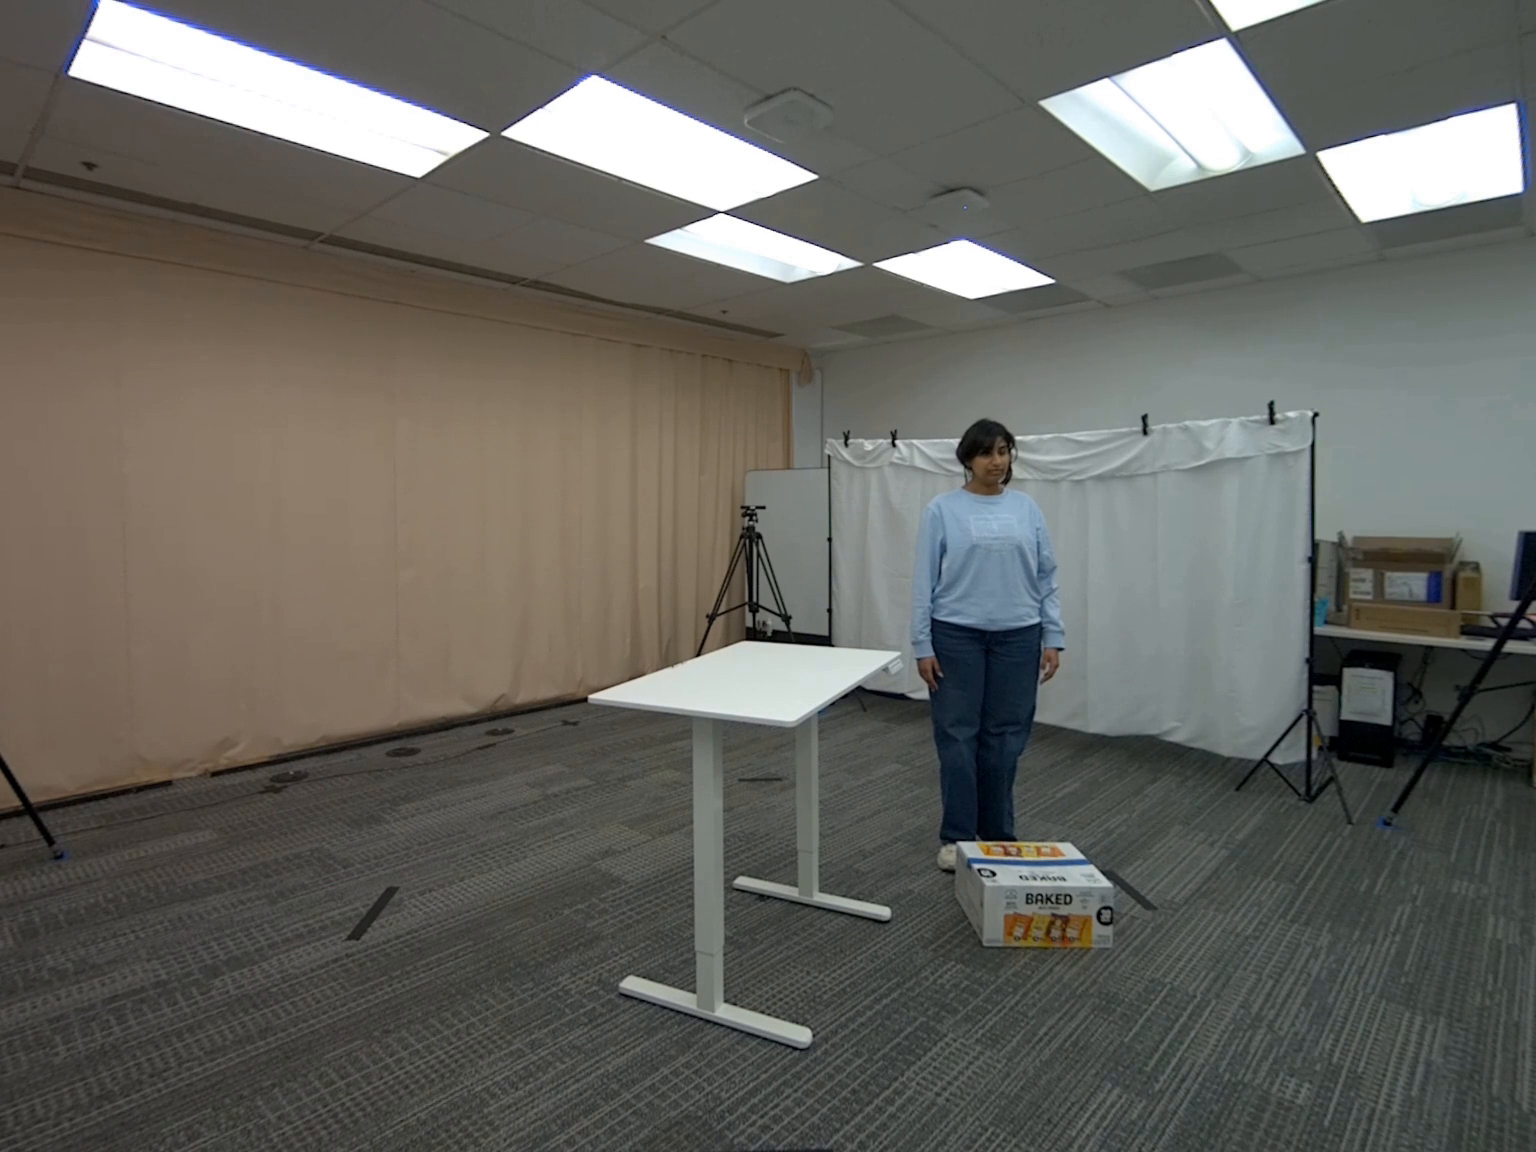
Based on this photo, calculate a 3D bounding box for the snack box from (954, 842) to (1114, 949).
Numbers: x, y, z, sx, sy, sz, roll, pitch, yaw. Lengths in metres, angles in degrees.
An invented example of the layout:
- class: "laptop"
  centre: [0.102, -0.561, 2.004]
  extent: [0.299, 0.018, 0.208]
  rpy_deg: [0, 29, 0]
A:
- class: "snack box"
  centre: [0.869, 1.049, 2.807]
  extent: [0.405, 0.205, 0.341]
  rpy_deg: [0, 4, -1]
